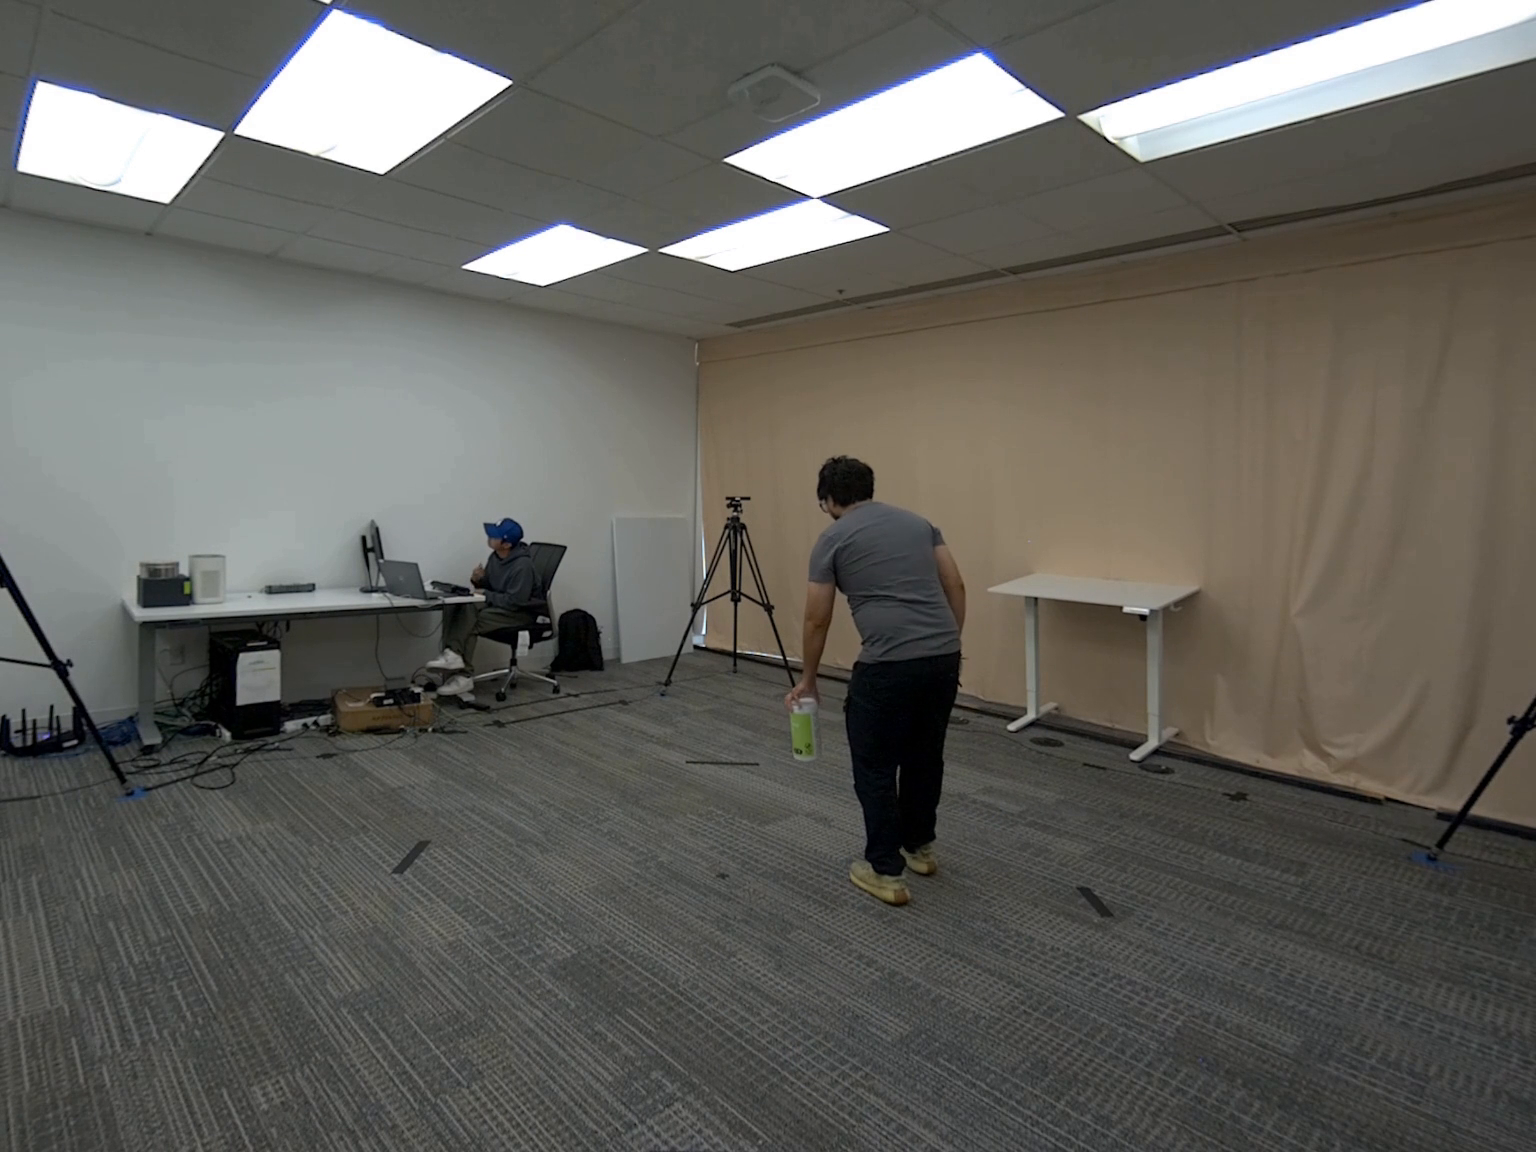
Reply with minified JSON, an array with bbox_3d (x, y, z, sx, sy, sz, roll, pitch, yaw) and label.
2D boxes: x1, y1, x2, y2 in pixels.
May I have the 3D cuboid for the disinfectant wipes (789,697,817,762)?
[{"bbox_3d":[0.137,0.586,3.182,0.118,0.216,0.118,-6,9,0],"label":"disinfectant wipes"}]
